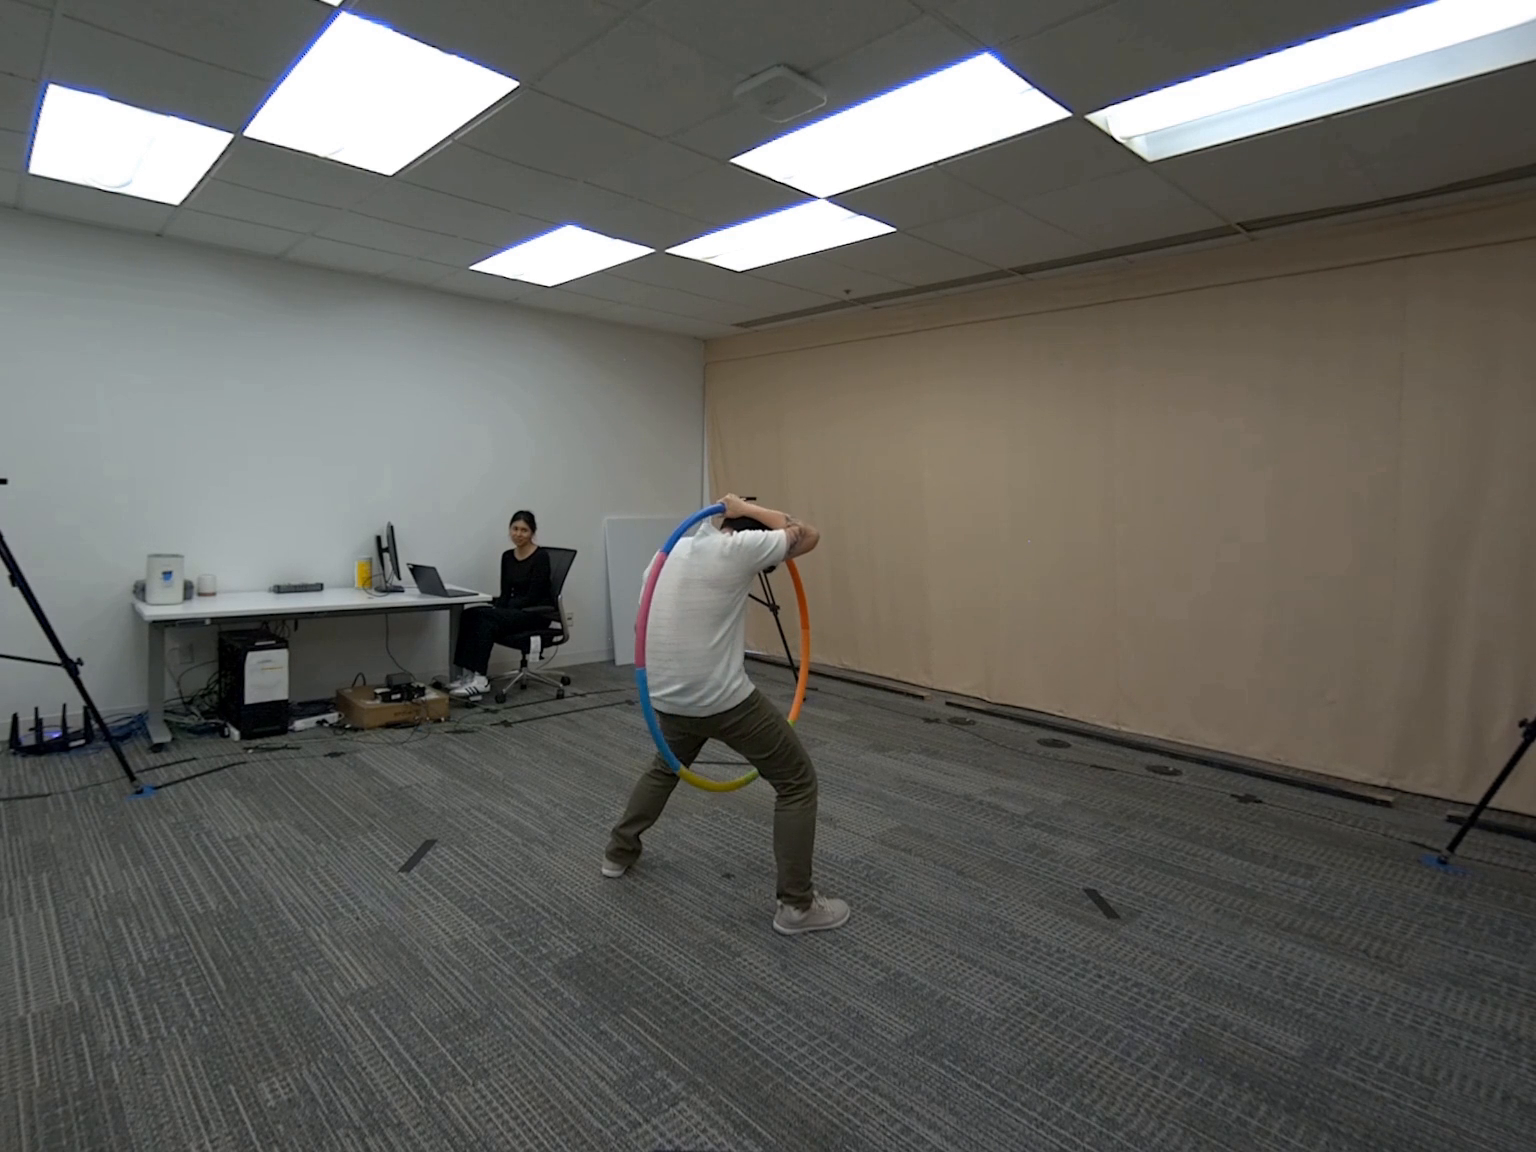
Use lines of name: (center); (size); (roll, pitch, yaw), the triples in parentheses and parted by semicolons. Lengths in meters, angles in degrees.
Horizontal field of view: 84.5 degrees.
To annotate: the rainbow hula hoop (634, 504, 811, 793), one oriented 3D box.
rainbow hula hoop: (-0.122, 0.234, 2.944); (0.036, 0.978, 0.958); (-2, 1, 35)
